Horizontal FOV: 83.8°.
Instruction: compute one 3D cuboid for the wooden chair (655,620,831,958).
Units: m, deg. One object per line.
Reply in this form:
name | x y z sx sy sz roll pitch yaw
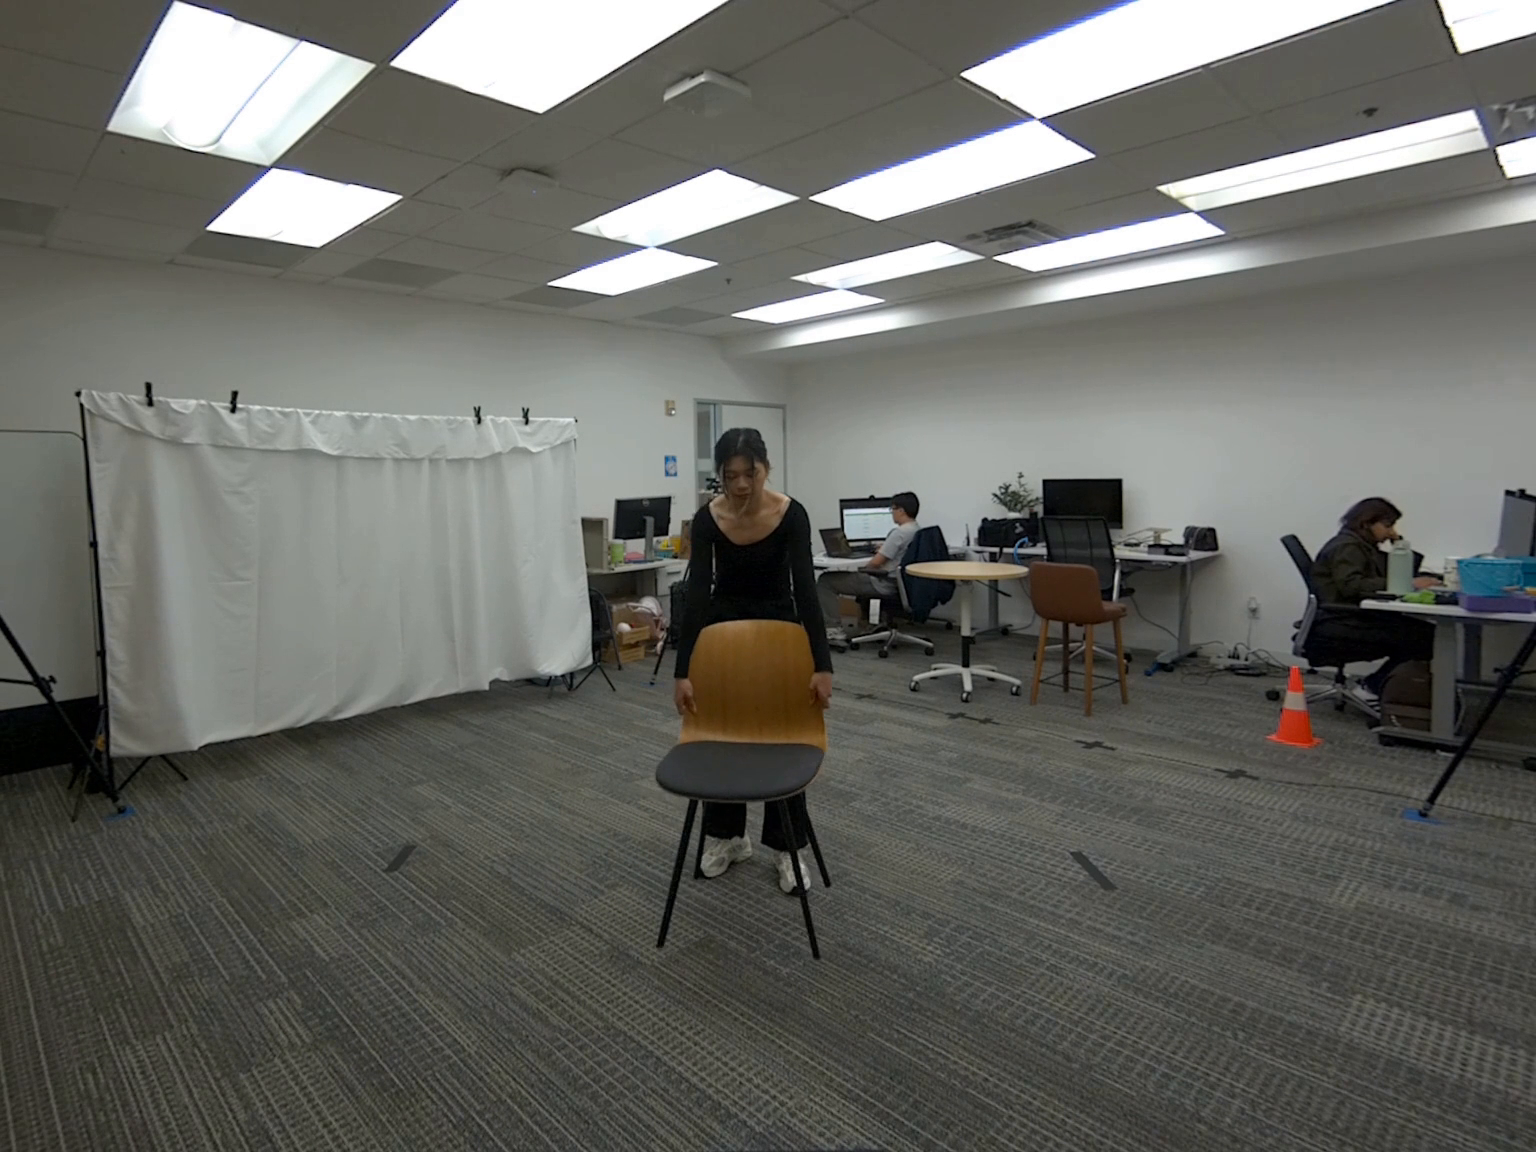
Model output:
wooden chair | -0.065 0.593 2.521 0.483 0.879 0.516 -1 -2 10
